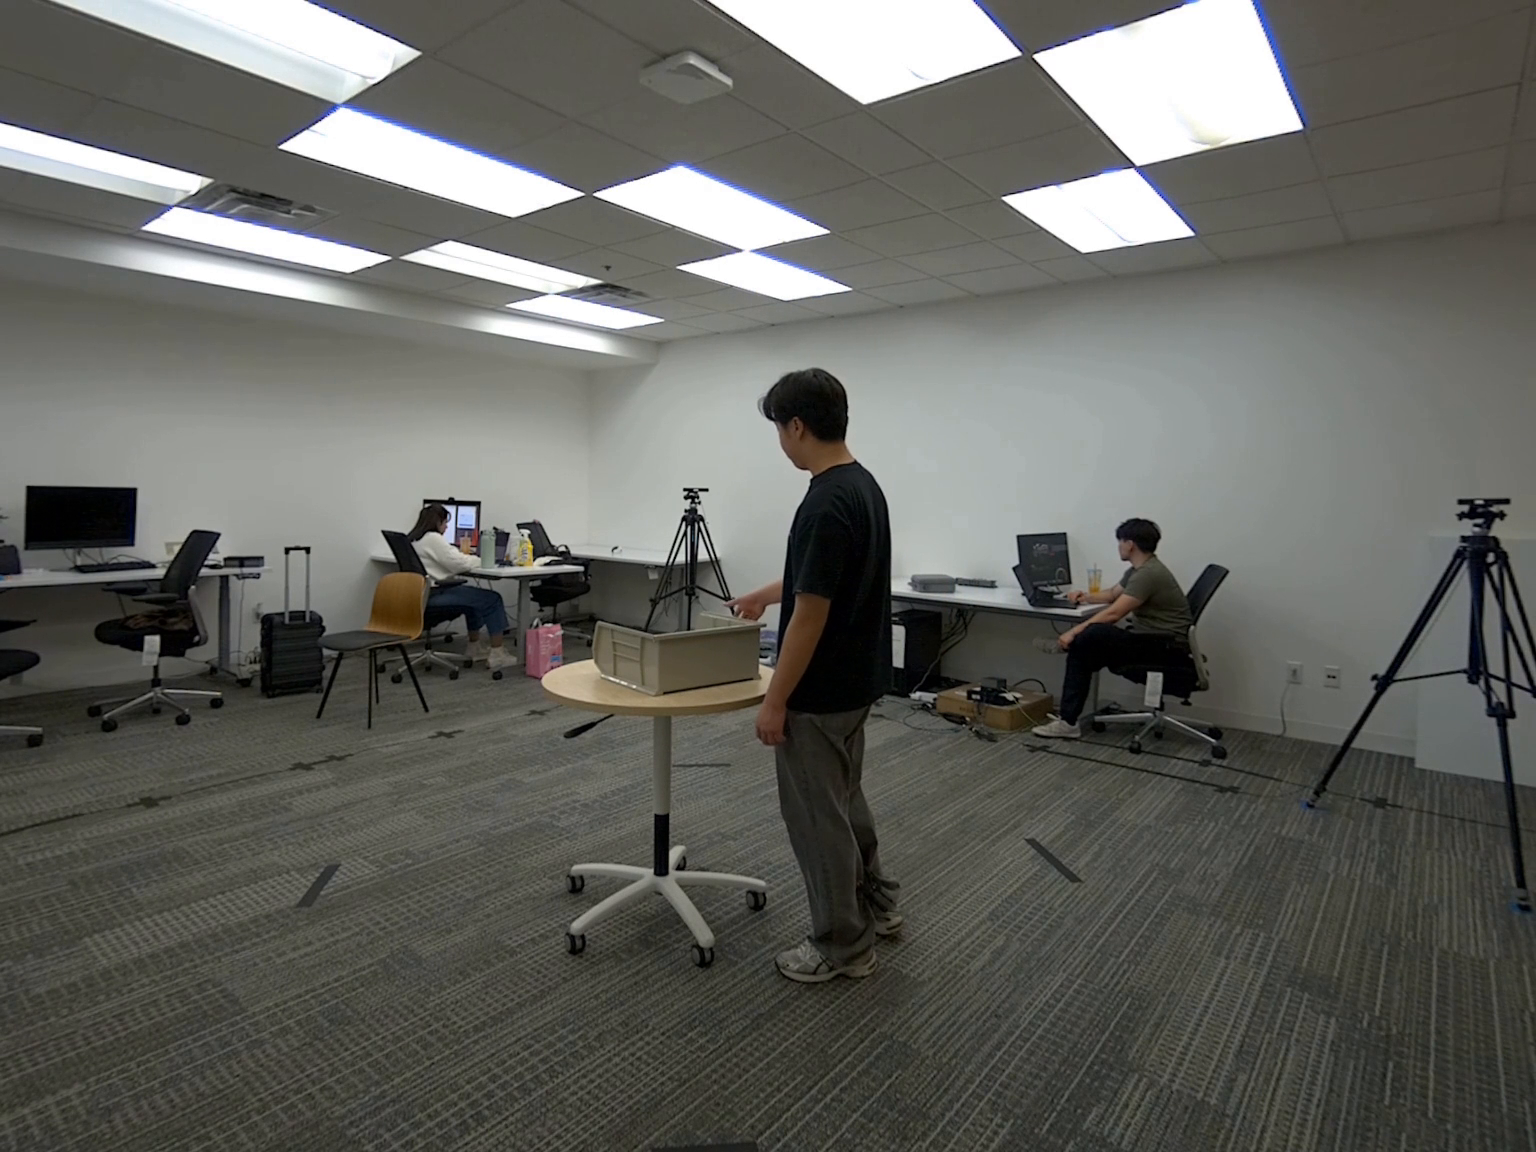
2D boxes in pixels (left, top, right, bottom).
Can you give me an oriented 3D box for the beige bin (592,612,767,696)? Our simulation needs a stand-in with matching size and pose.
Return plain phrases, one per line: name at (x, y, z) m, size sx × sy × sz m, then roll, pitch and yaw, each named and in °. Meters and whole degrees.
beige bin at (-0.293, 0.232, 2.714) m, size 0.409 × 0.188 × 0.390 m, roll -3°, pitch 7°, yaw -40°
